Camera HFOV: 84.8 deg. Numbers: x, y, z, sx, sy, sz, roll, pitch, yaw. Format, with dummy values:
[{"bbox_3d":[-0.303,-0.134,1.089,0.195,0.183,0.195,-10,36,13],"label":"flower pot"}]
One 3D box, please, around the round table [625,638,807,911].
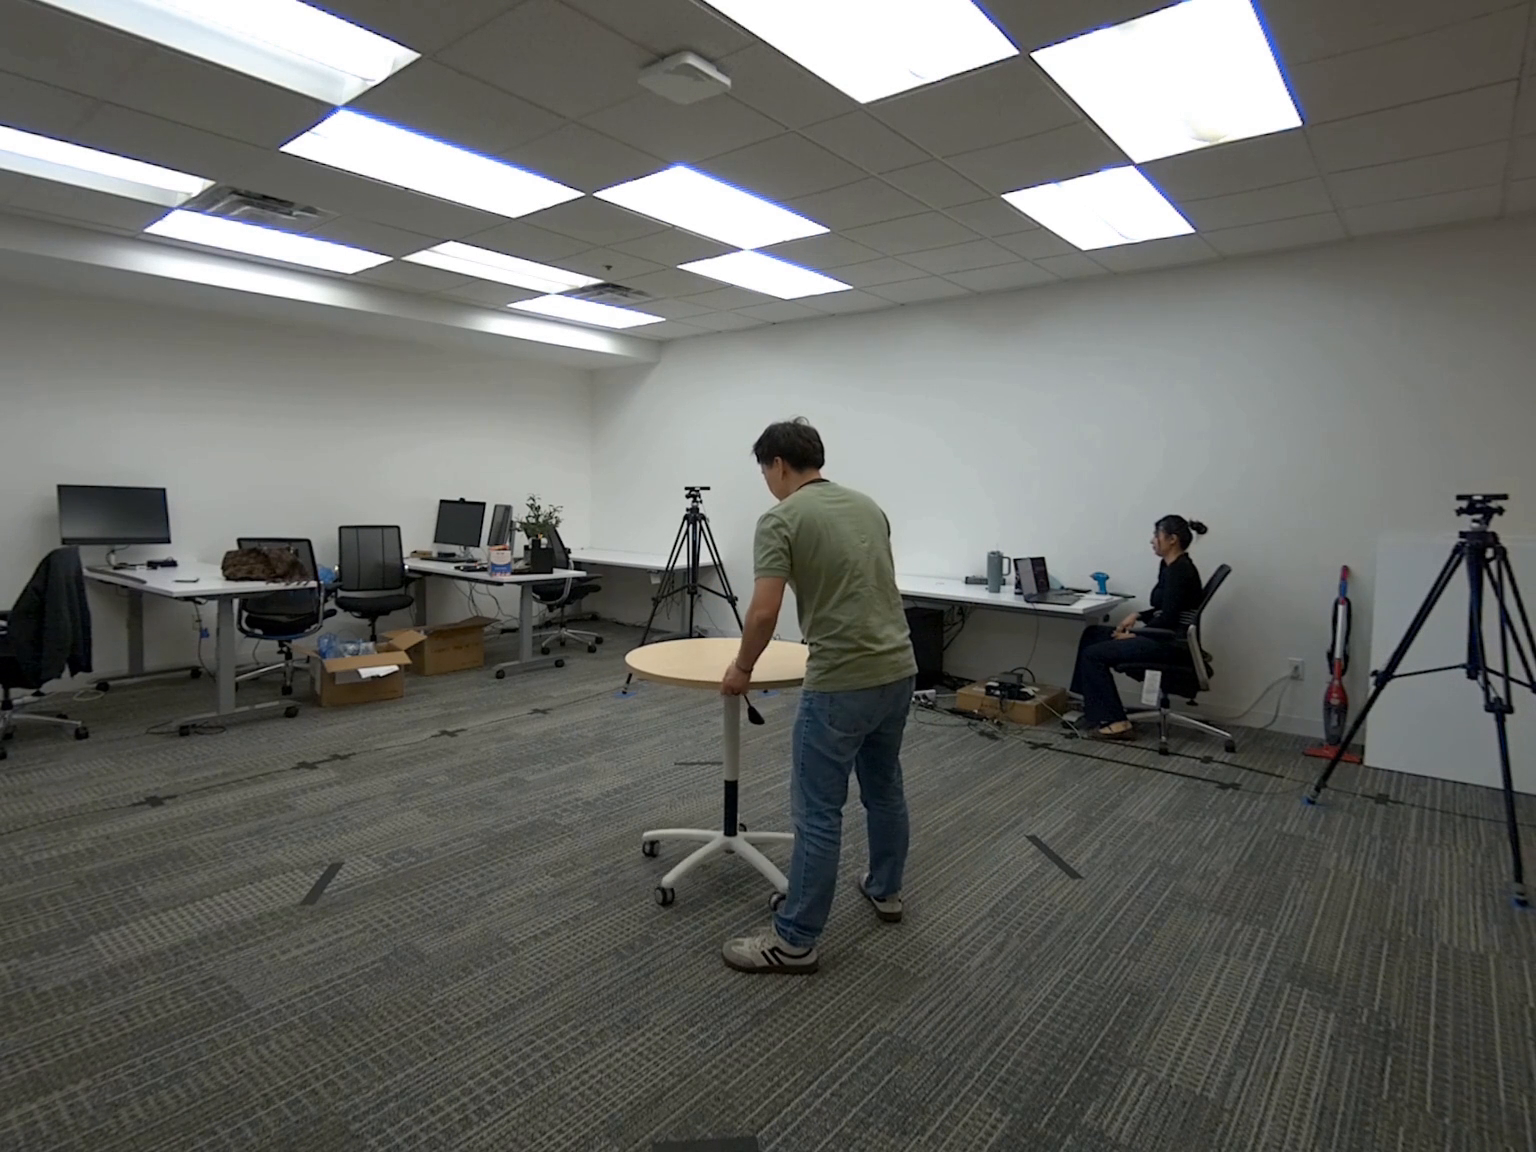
[{"bbox_3d":[-0.147,0.682,3.050,0.763,0.791,0.768,0,4,-2],"label":"round table"}]
